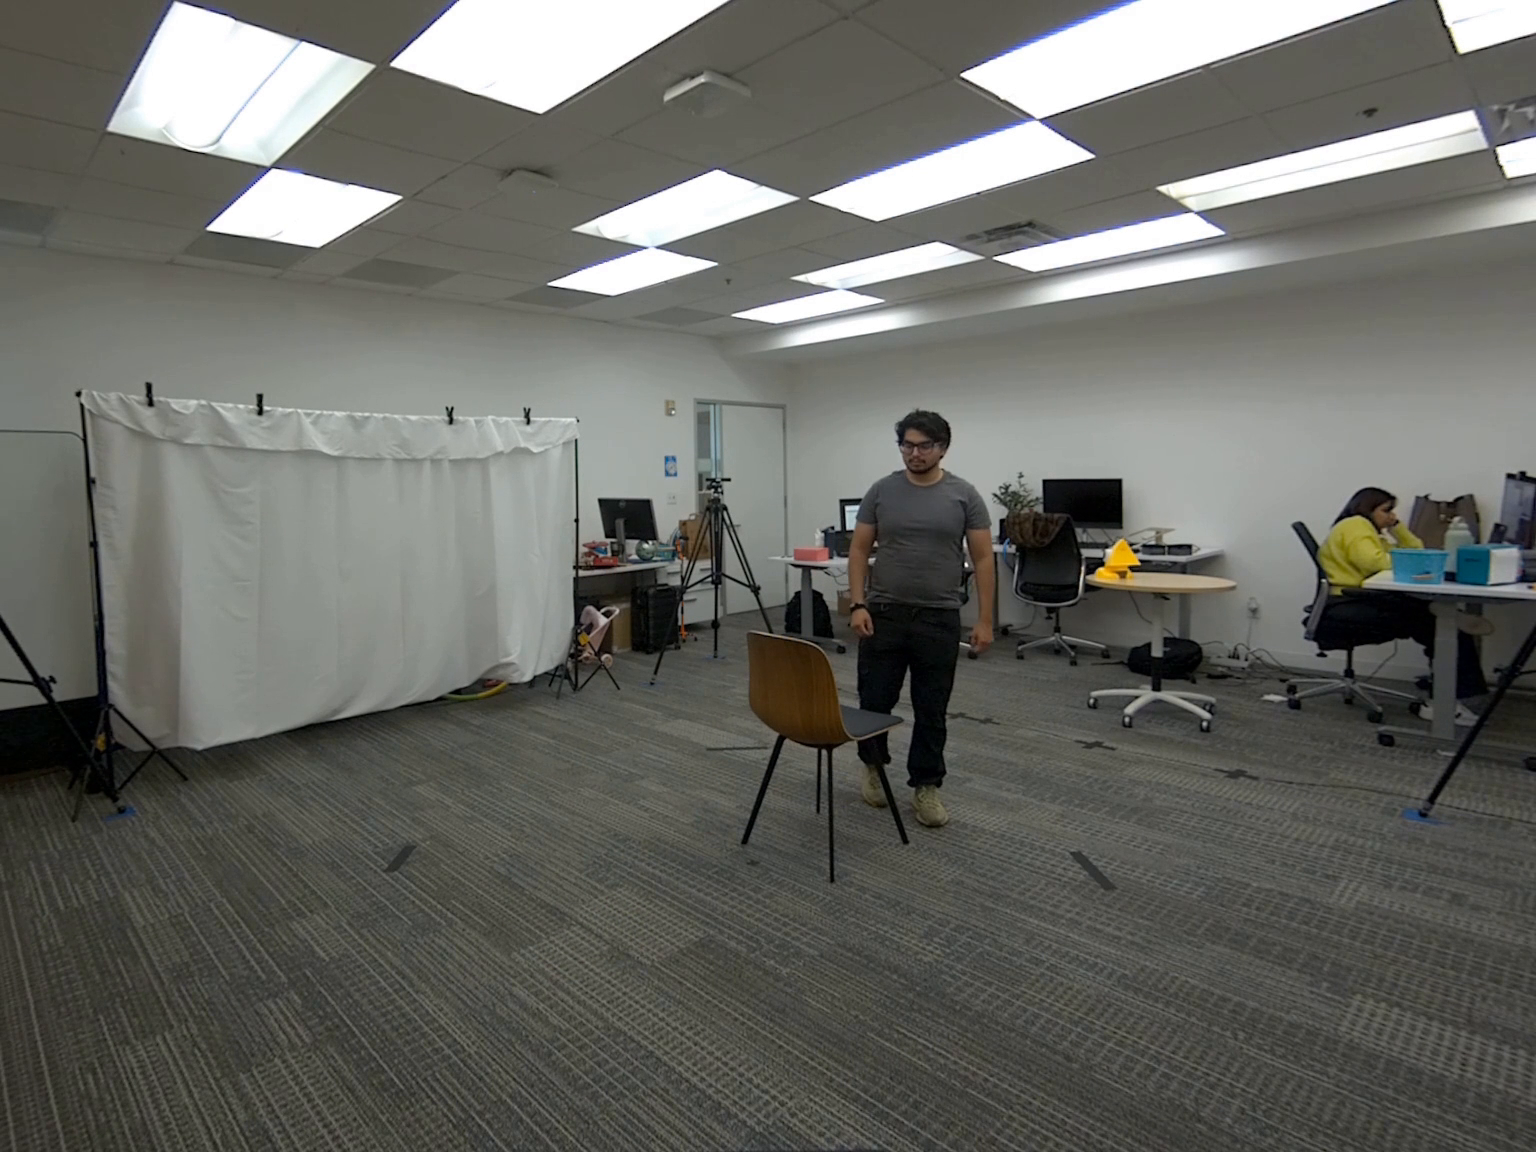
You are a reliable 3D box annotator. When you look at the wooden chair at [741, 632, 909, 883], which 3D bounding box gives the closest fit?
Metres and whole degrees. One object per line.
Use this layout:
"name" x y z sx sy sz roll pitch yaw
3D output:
"wooden chair" 0.213 0.599 3.227 0.493 0.871 0.511 4 10 45
